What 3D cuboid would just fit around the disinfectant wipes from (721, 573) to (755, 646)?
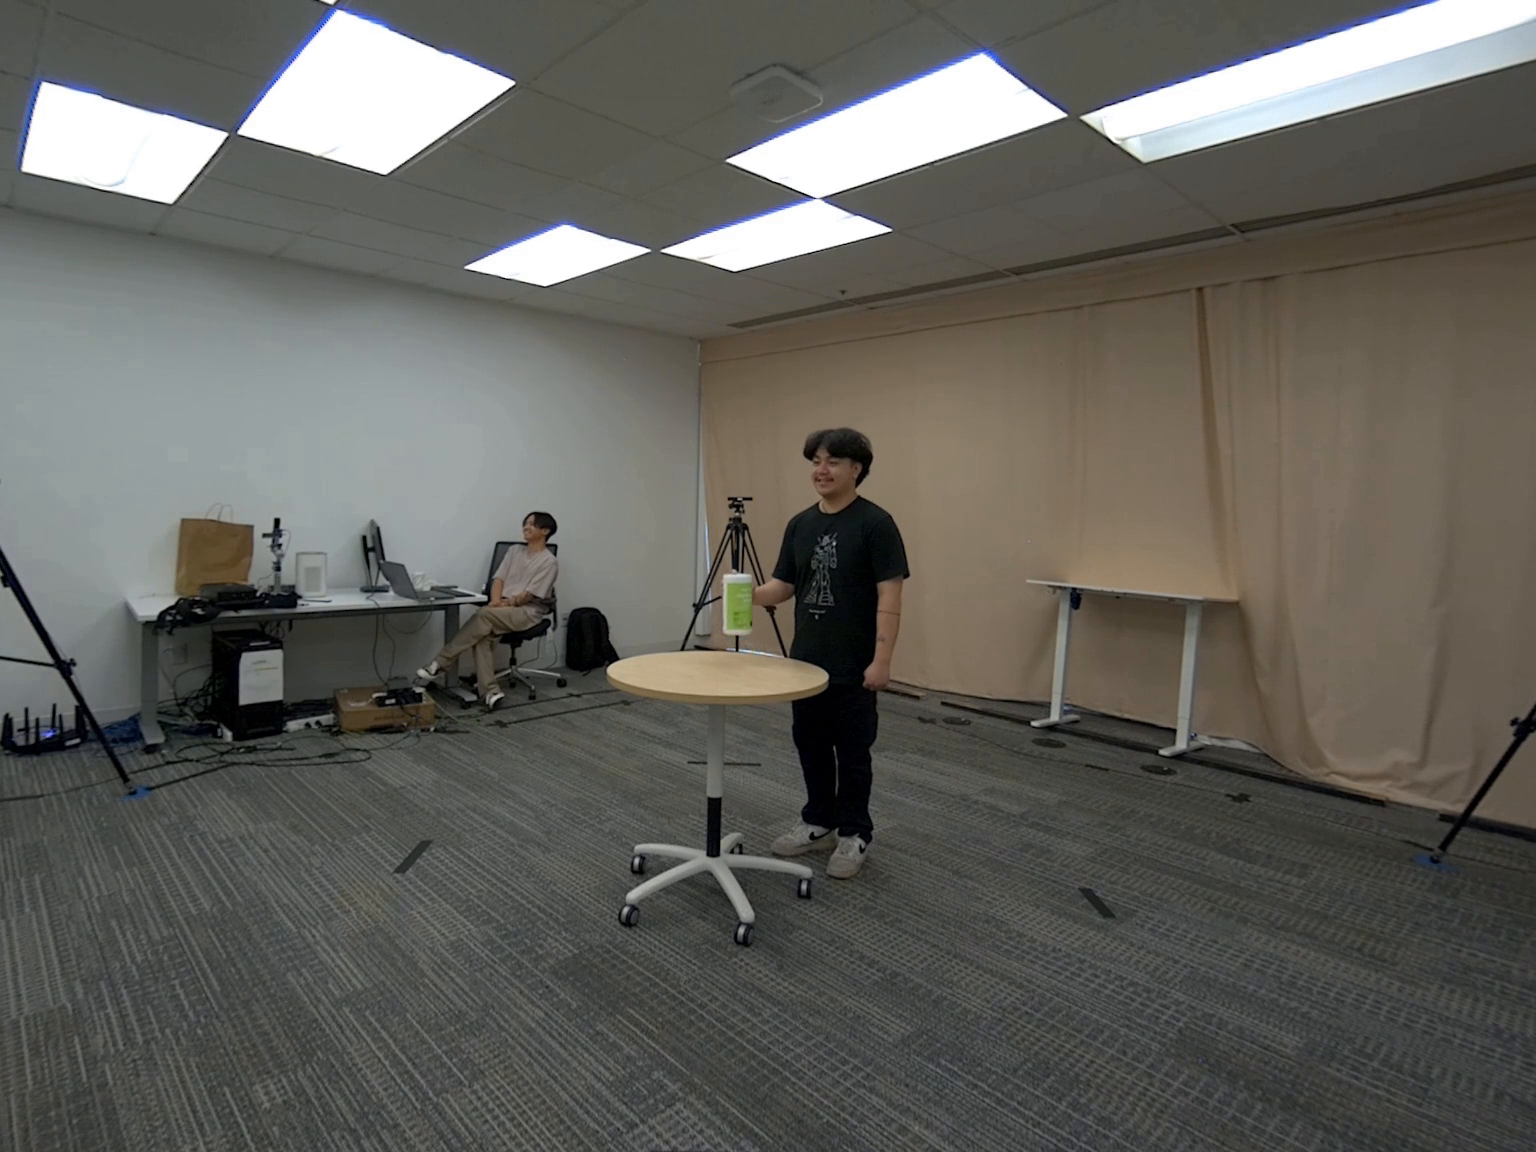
[{"bbox_3d":[-0.119,0.103,3.054,0.118,0.217,0.118,2,3,-1],"label":"disinfectant wipes"}]
